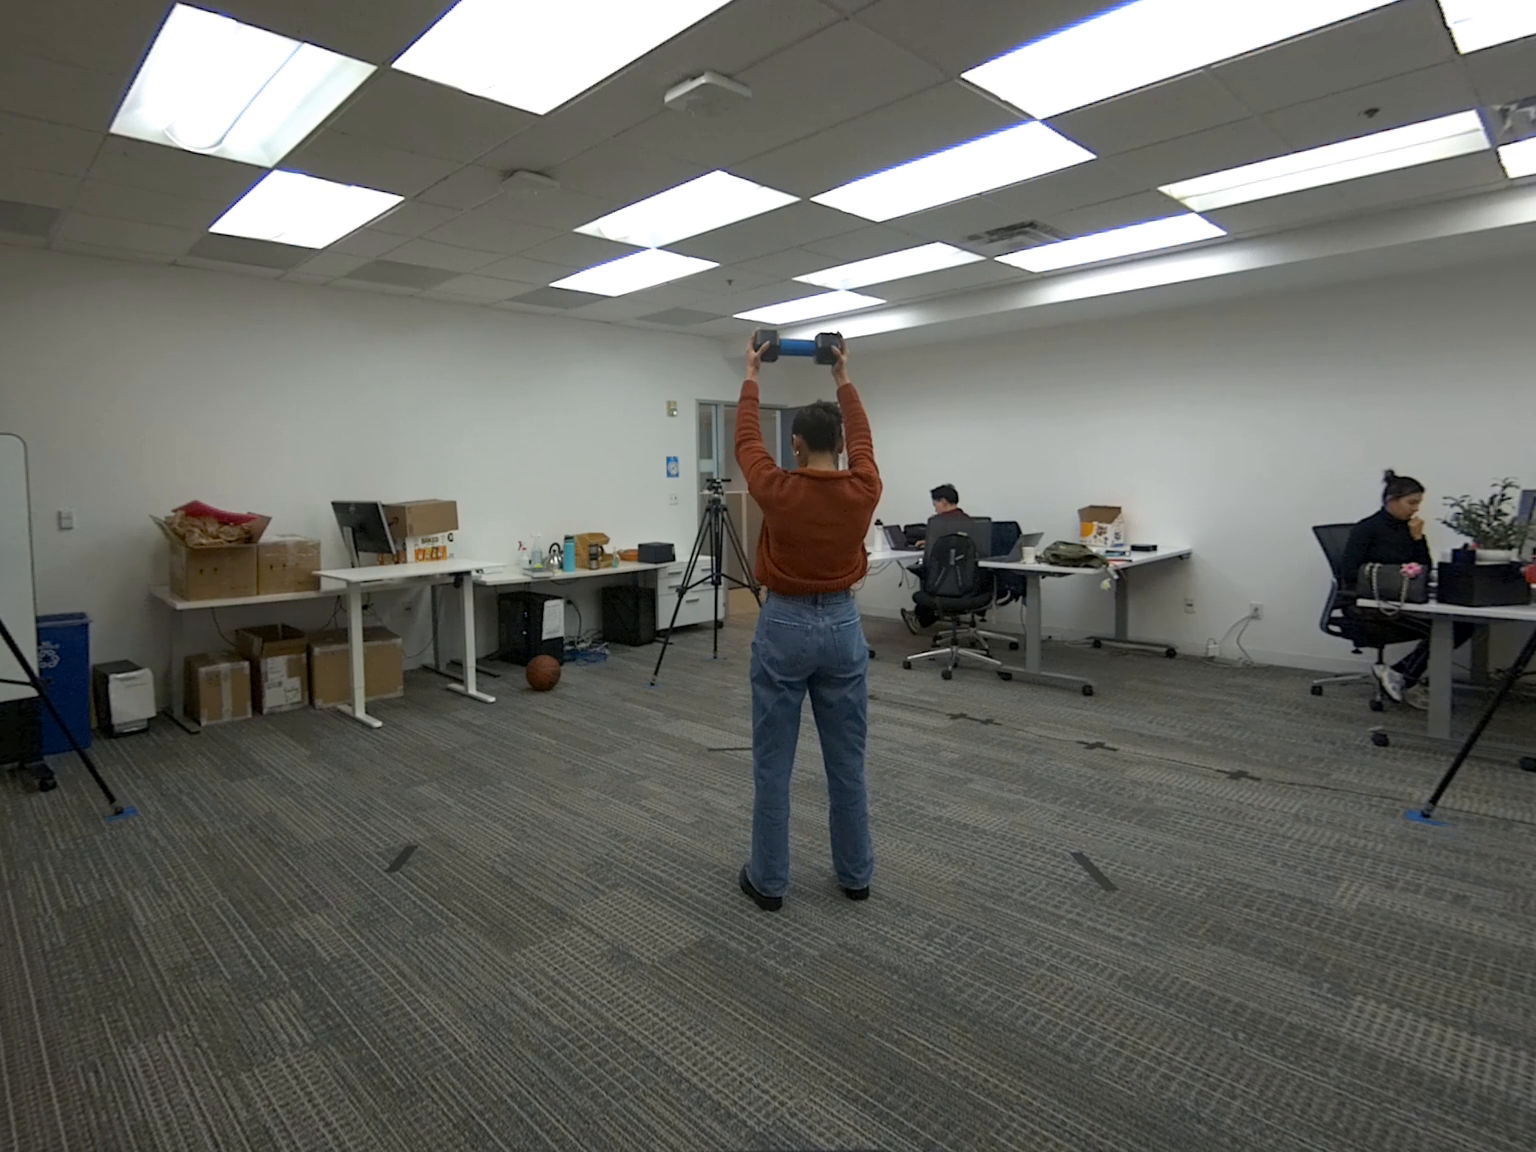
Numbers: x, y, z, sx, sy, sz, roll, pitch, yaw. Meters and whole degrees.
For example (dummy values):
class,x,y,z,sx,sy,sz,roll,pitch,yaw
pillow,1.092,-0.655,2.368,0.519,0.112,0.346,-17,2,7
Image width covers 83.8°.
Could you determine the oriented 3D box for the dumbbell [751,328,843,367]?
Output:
class,x,y,z,sx,sy,sz,roll,pitch,yaw
dumbbell,0.106,-0.786,2.974,0.292,0.120,0.112,1,41,-4
